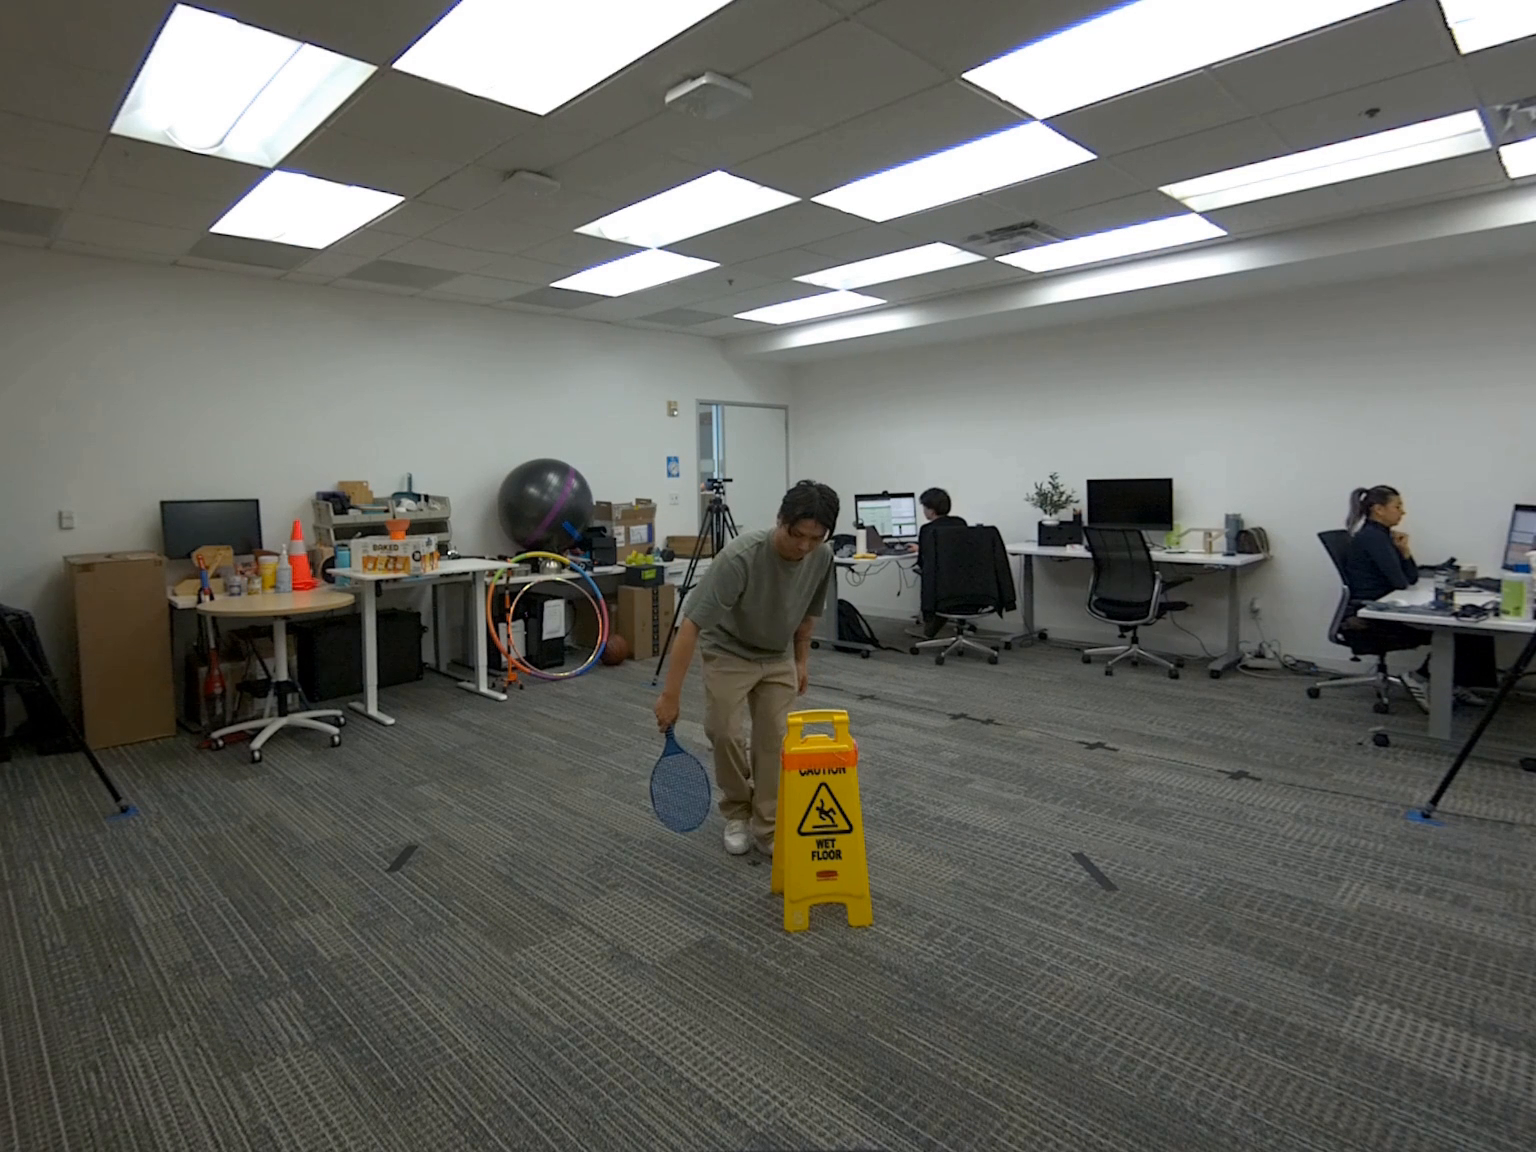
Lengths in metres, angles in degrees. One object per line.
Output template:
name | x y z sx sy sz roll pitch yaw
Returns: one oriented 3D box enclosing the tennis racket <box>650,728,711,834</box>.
tennis racket | -0.296 0.658 2.912 0.215 0.439 0.031 -13 -12 9
